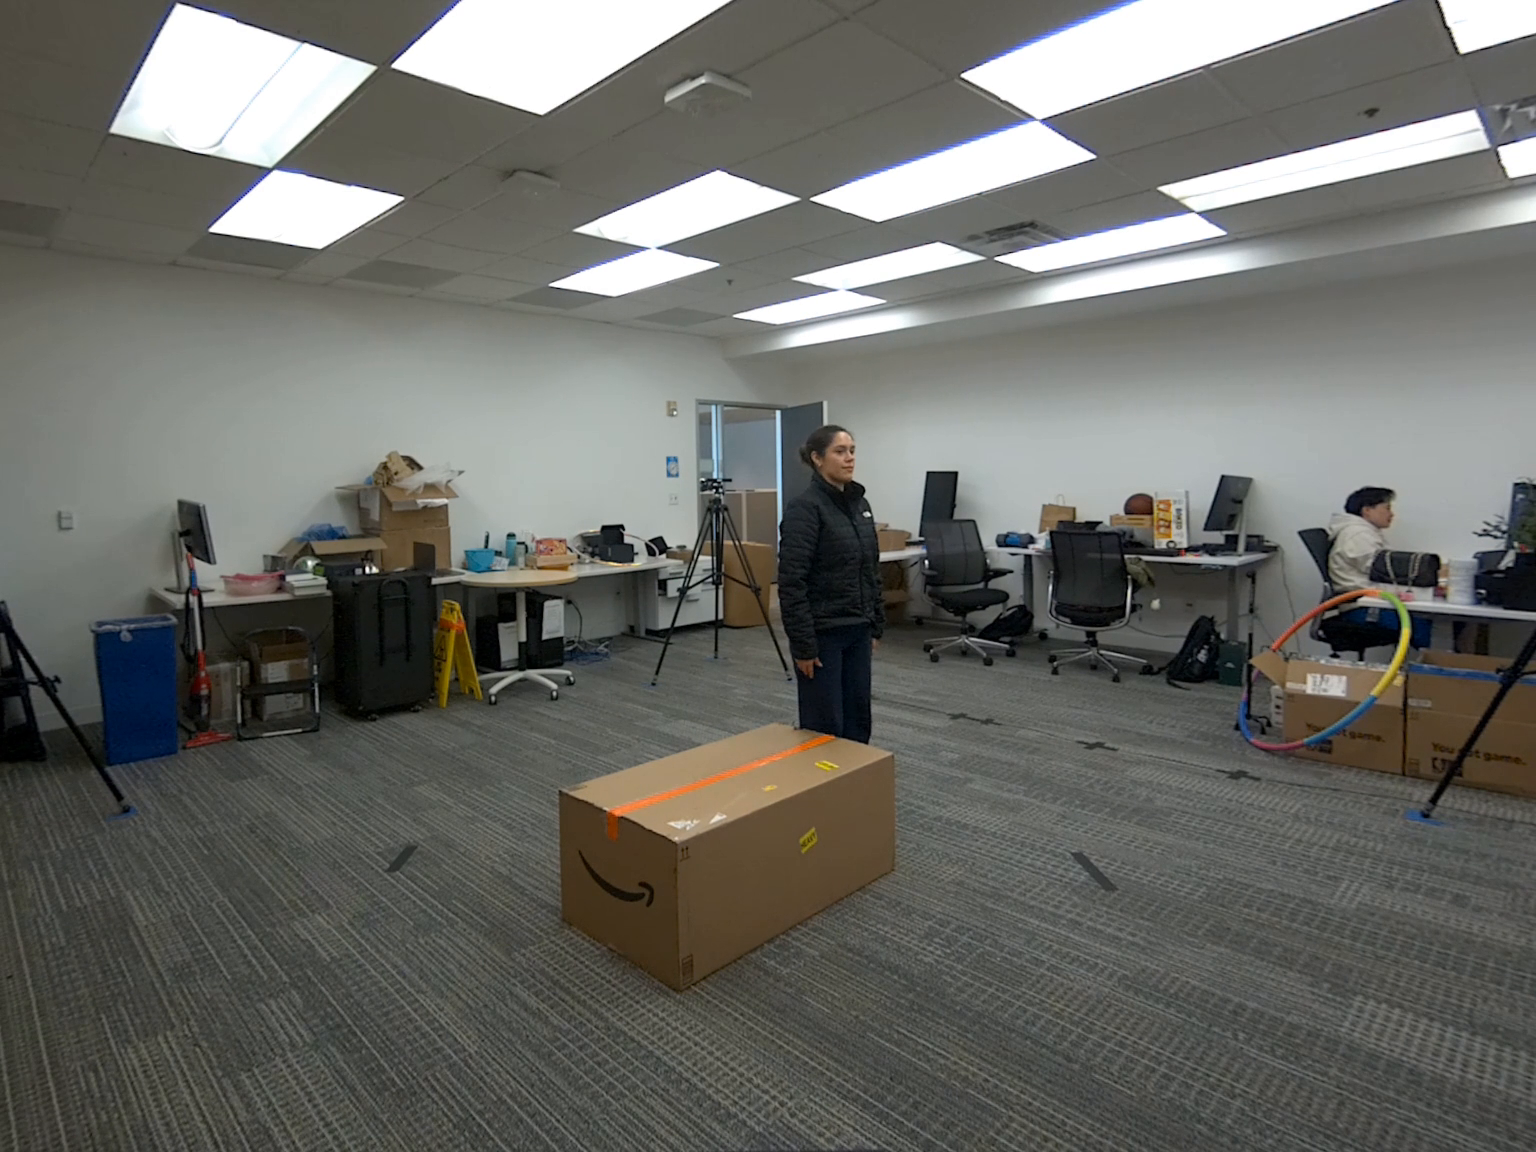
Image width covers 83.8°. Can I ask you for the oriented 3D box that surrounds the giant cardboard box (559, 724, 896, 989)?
[{"bbox_3d":[-0.106,0.862,2.885,0.601,0.445,1.001,3,8,44],"label":"giant cardboard box"}]
